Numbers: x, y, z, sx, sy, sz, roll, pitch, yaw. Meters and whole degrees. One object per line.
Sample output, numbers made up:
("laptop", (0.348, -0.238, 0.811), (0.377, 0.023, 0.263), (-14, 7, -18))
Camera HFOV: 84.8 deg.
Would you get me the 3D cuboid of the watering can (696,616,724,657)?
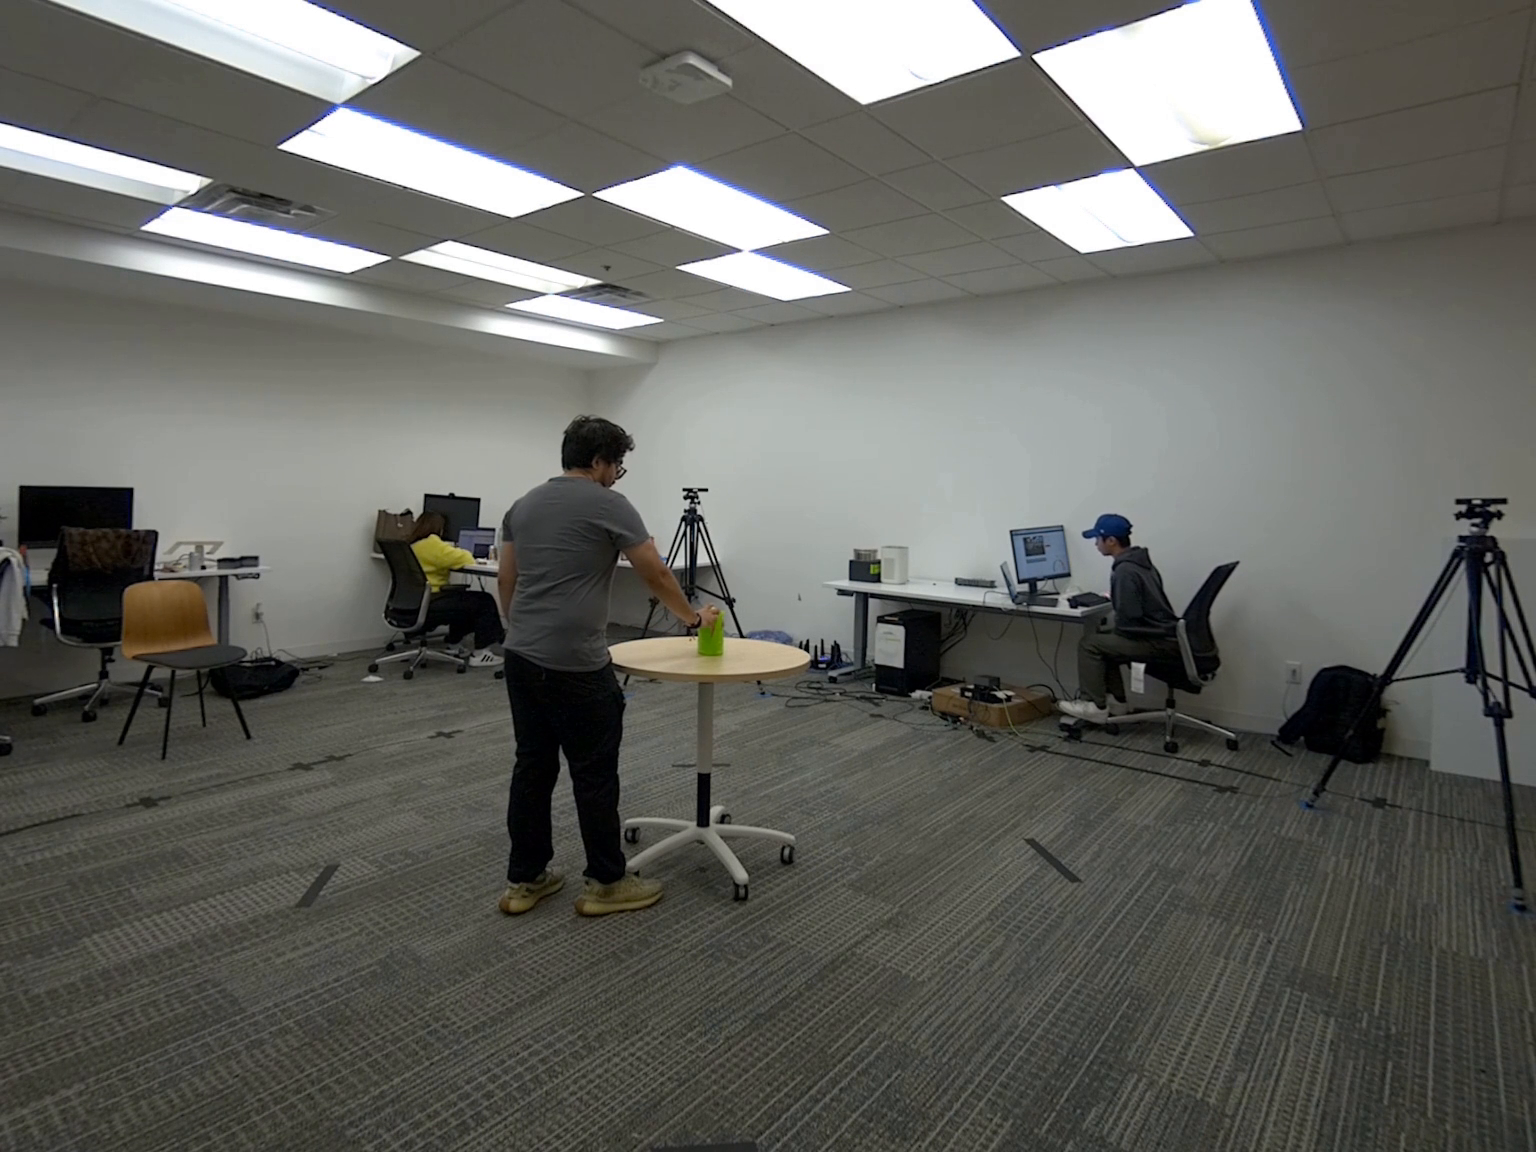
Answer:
("watering can", (-0.221, 0.199, 3.109), (0.098, 0.177, 0.279), (1, 2, -4))
